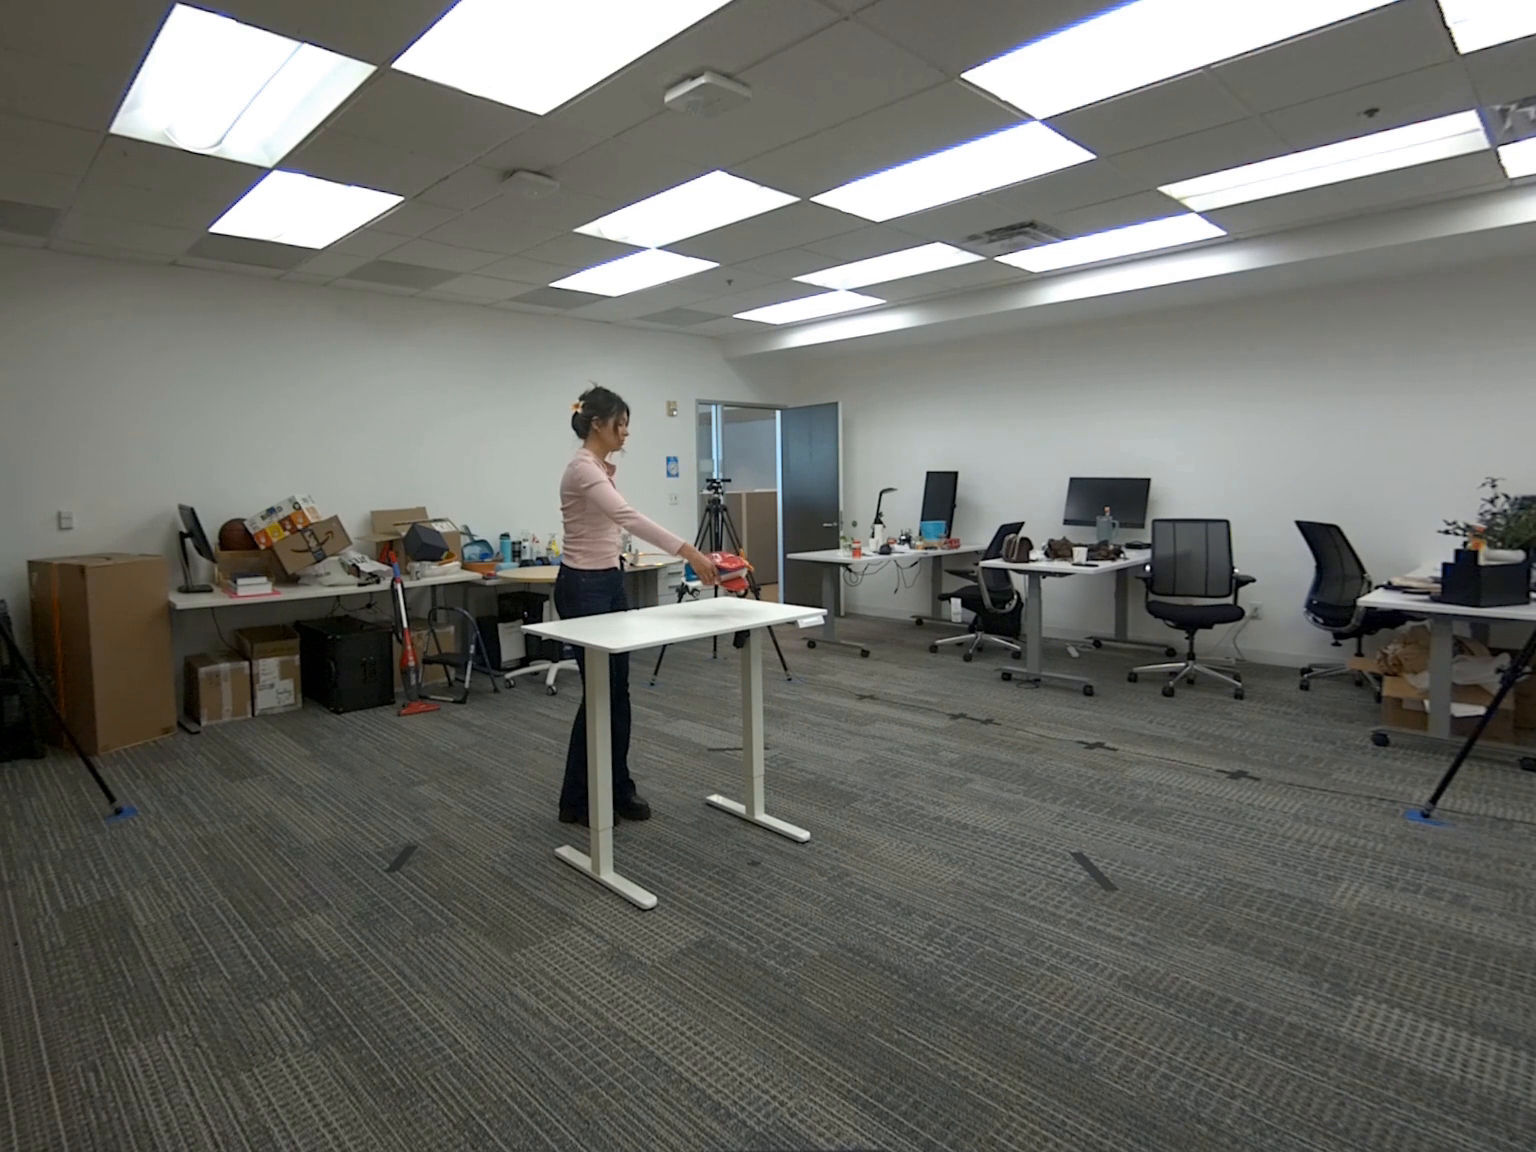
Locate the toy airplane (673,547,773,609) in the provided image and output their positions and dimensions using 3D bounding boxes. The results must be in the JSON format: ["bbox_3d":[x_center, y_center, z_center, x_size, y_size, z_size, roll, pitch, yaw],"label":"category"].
[{"bbox_3d":[-0.168,0.000,3.193,0.259,0.155,0.253,11,12,35],"label":"toy airplane"}]
